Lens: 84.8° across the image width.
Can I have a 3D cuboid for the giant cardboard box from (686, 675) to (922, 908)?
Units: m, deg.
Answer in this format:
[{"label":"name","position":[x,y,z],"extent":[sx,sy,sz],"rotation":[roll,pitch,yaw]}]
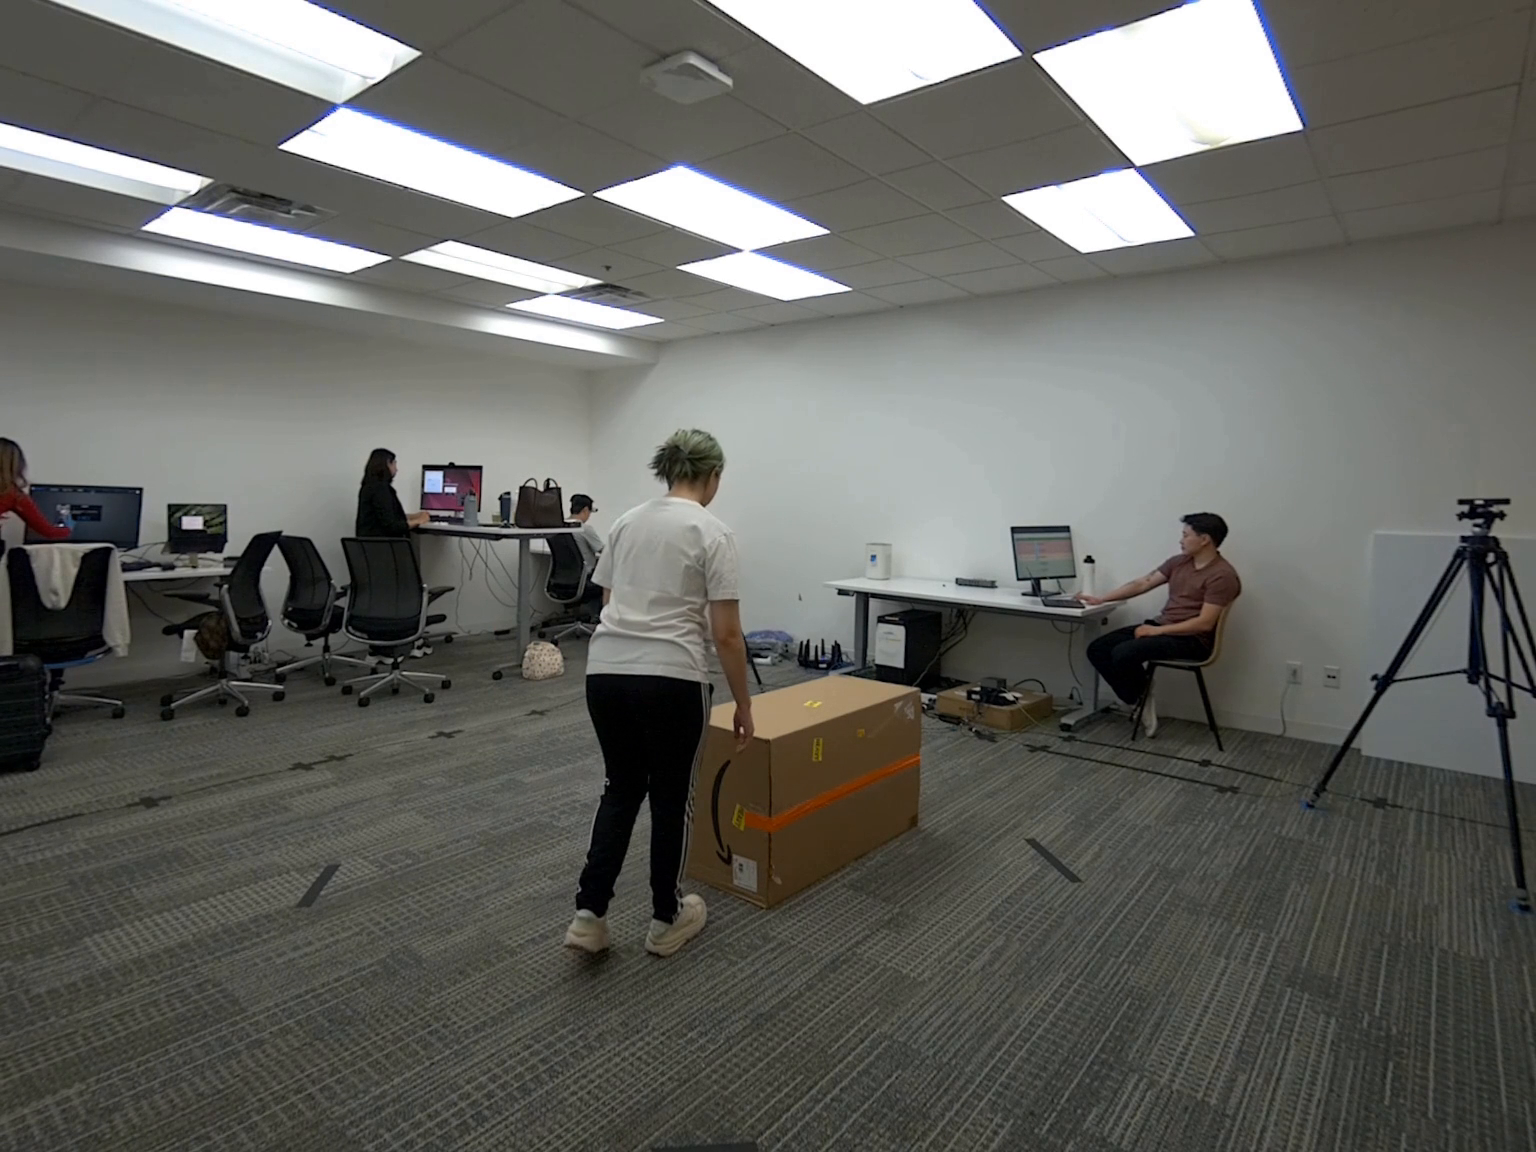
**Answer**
[{"label":"giant cardboard box","position":[0.147,0.770,3.314],"extent":[0.462,0.581,0.997],"rotation":[5,7,39]}]
